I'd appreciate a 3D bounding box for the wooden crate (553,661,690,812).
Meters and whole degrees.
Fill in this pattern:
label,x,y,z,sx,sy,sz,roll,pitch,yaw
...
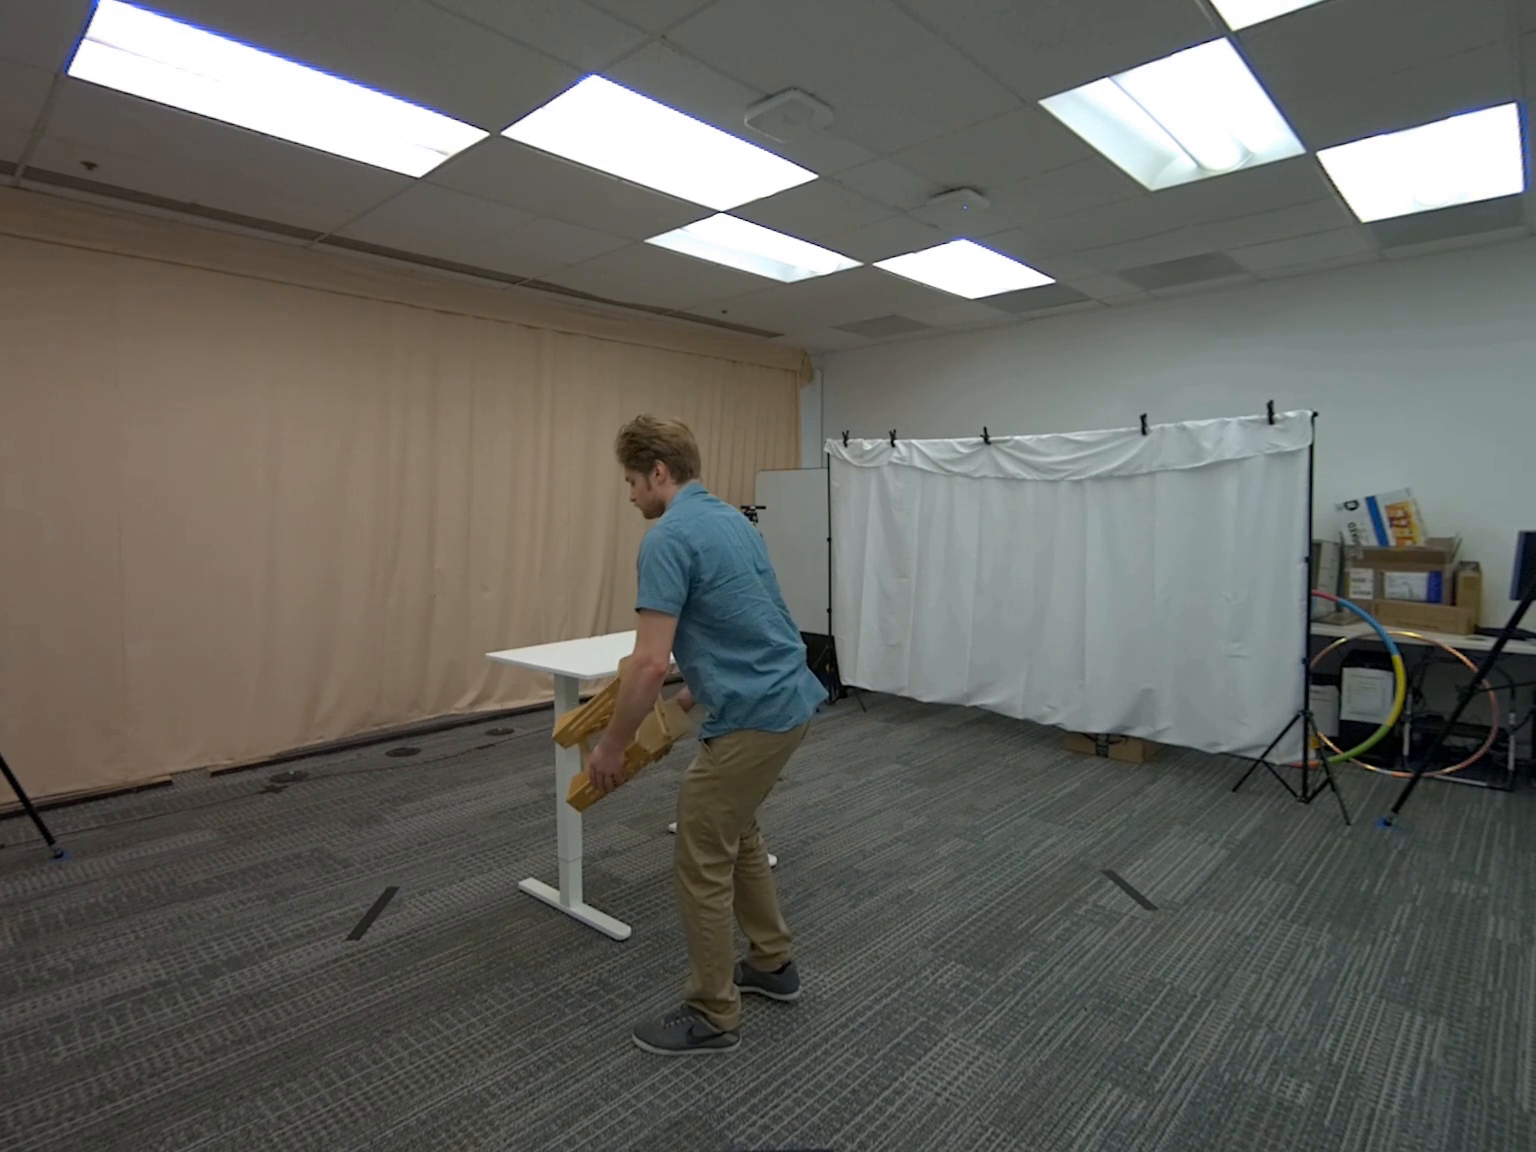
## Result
label,x,y,z,sx,sy,sz,roll,pitch,yaw
wooden crate,-0.427,0.418,2.305,0.327,0.277,0.295,-42,-12,23
